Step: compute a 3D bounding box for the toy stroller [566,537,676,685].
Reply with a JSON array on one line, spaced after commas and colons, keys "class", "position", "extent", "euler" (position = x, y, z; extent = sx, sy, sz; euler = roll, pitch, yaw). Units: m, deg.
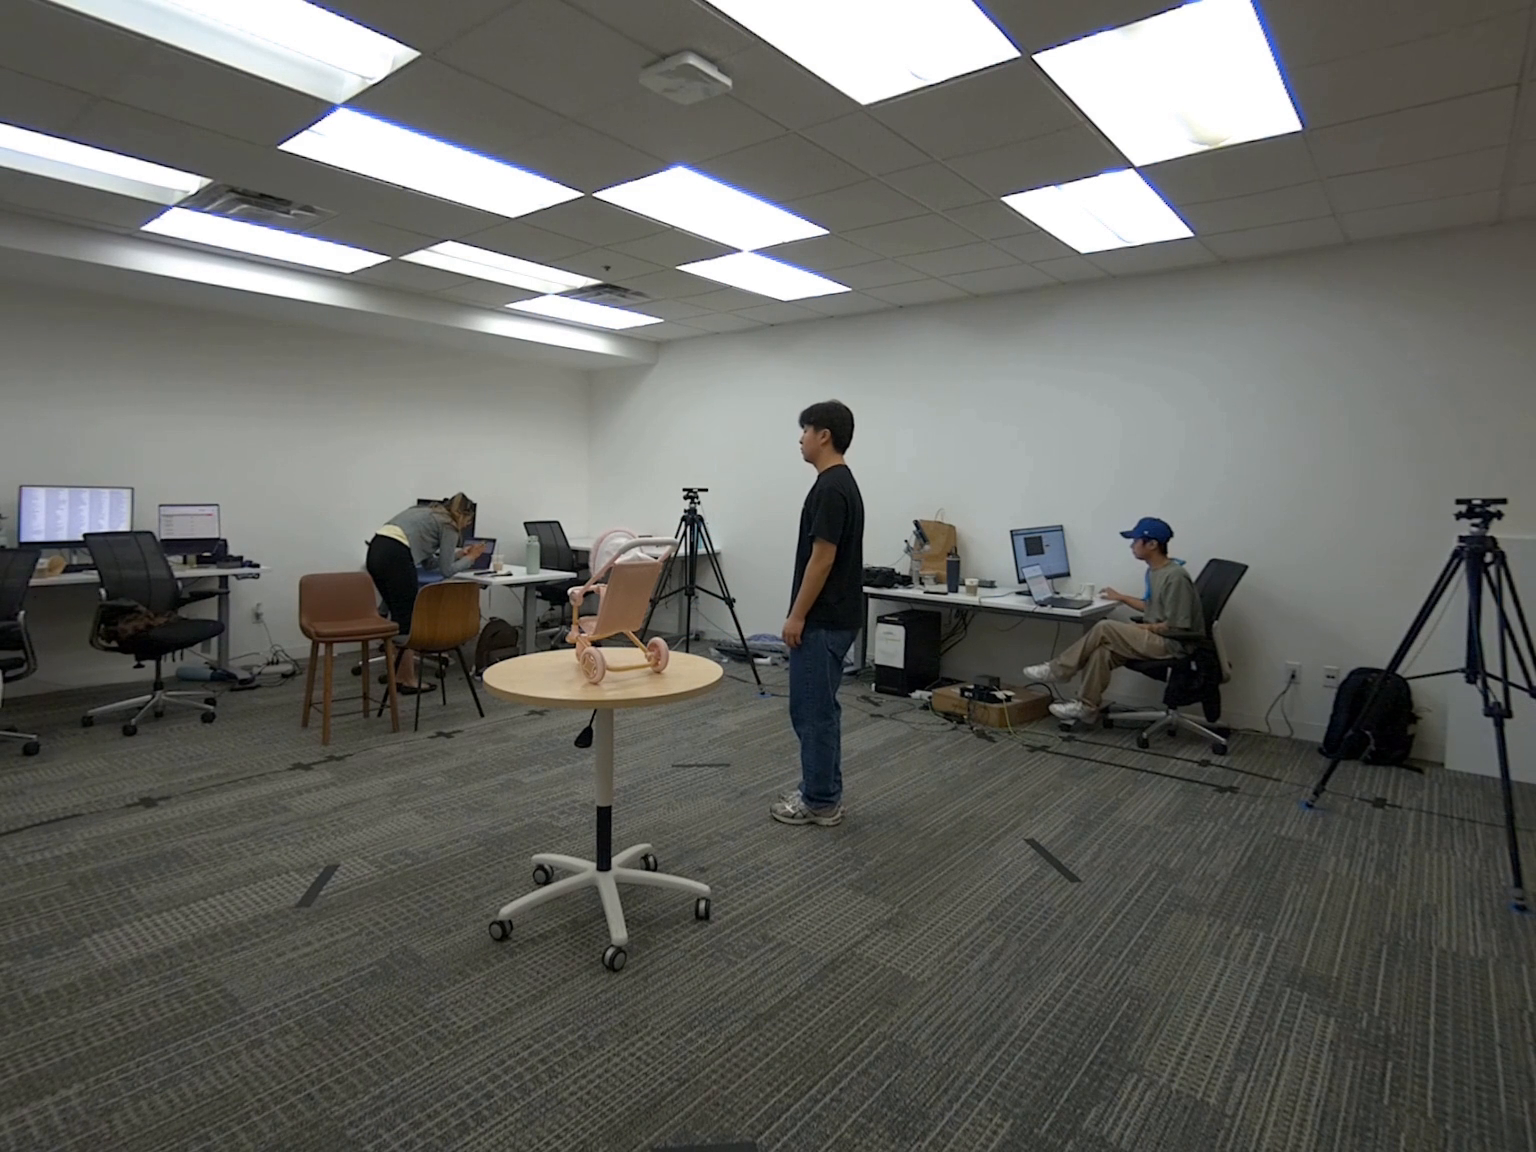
[{"class": "toy stroller", "position": [-0.494, 0.085, 2.692], "extent": [0.273, 0.529, 0.355], "euler": [-2, 19, -39]}]
